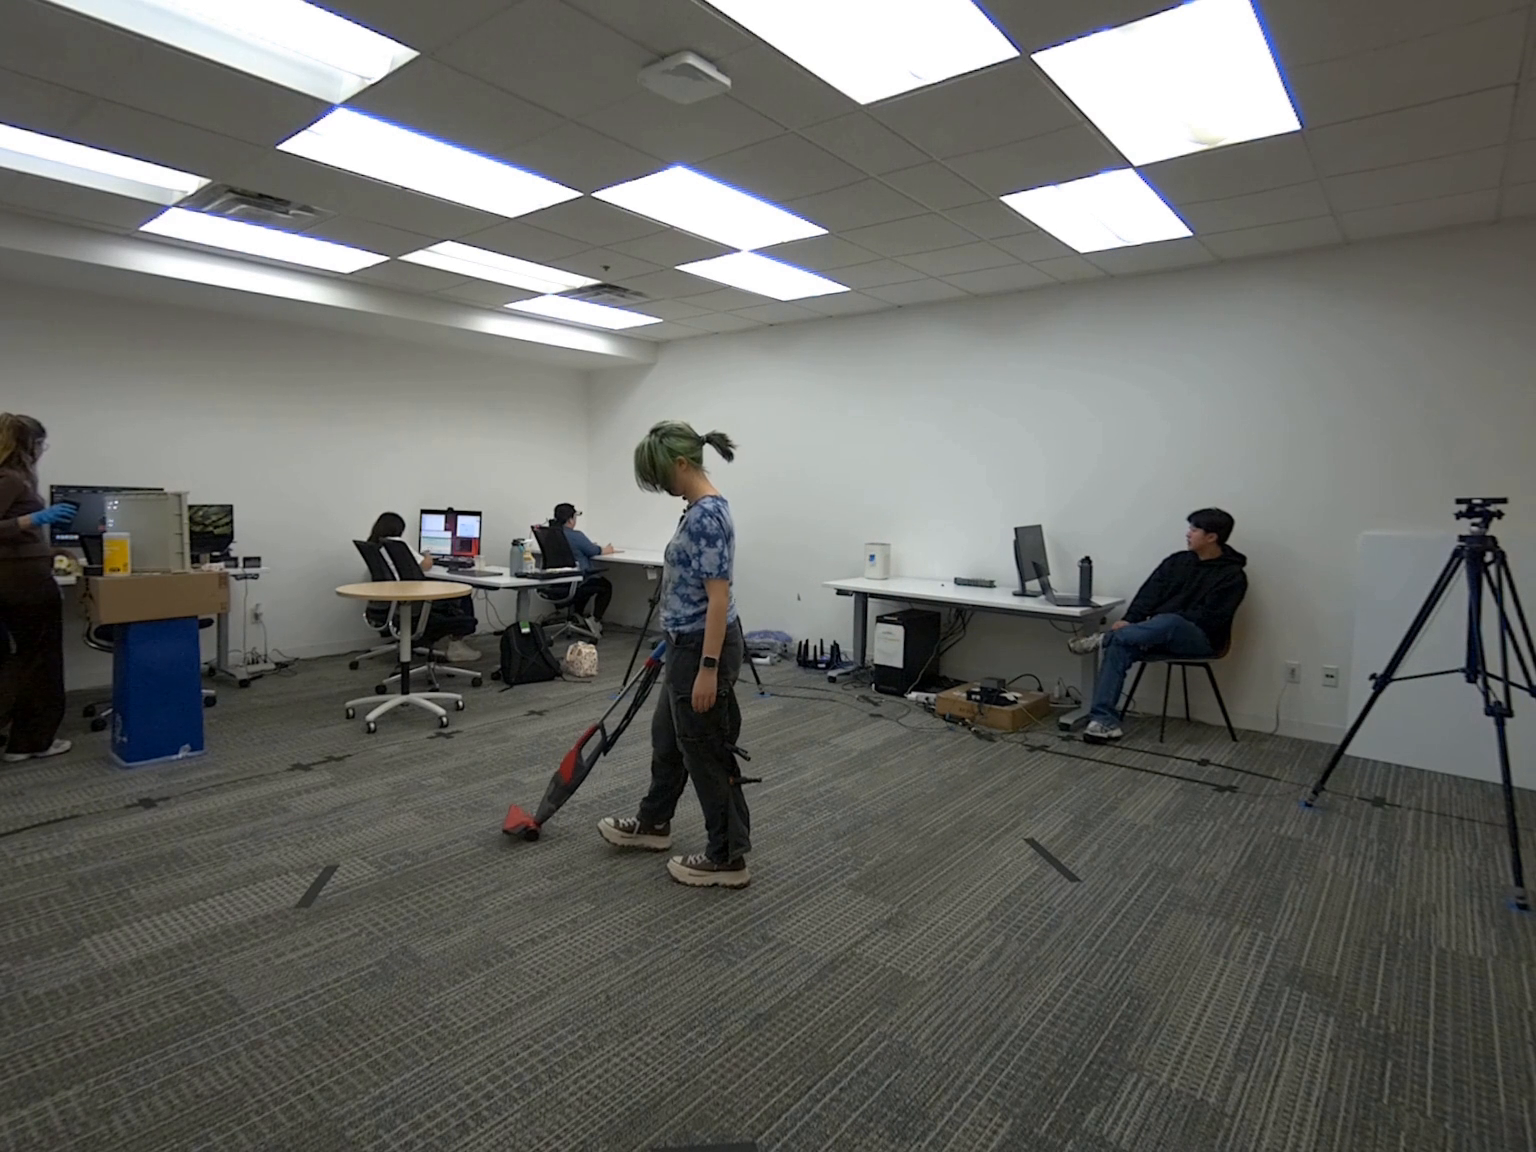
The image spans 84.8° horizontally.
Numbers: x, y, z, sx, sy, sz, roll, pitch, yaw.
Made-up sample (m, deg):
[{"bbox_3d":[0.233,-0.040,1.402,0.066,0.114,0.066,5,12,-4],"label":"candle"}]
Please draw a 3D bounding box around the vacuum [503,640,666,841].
[{"bbox_3d":[-0.656,0.617,3.399,0.142,1.049,0.255,43,-2,-9],"label":"vacuum"}]
